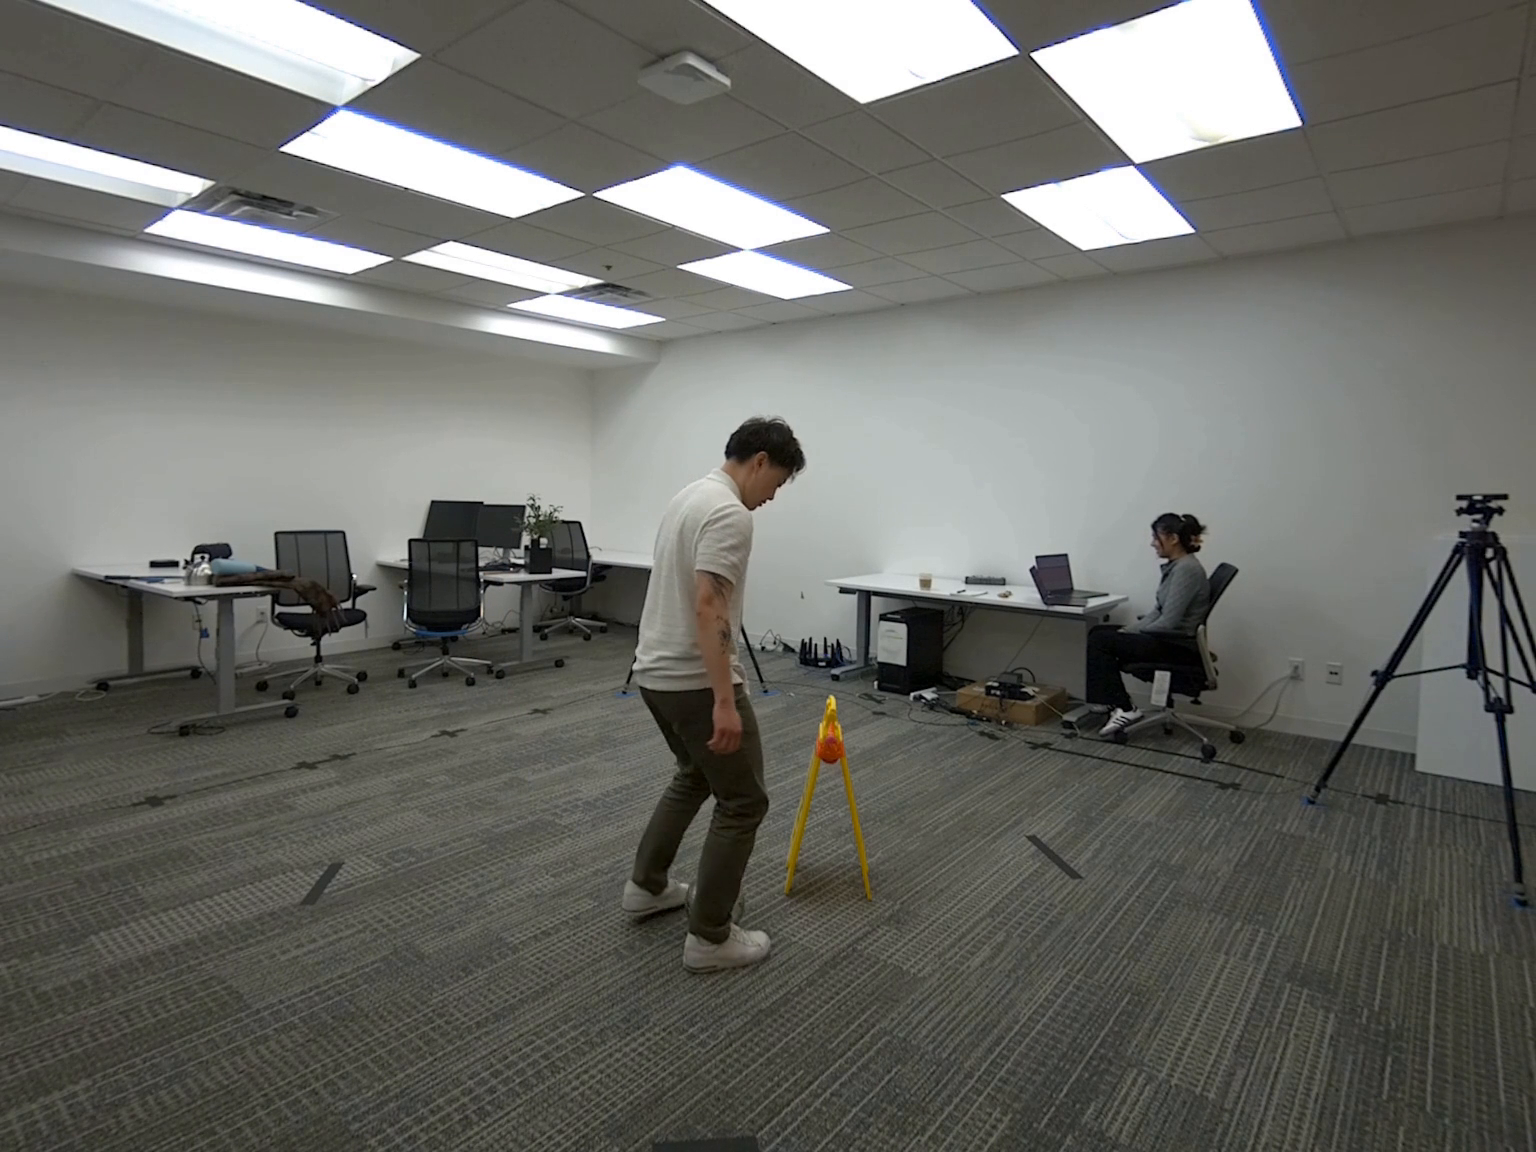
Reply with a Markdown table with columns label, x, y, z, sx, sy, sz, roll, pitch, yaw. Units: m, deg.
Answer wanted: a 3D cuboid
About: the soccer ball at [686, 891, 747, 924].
| label | x | y | z | sx | sy | sz | roll | pitch | yaw |
| --- | --- | --- | --- | --- | --- | --- | --- | --- | --- |
| soccer ball | -0.166 | 1.017 | 2.645 | 0.187 | 0.187 | 0.188 | 0 | 4 | -2 |
